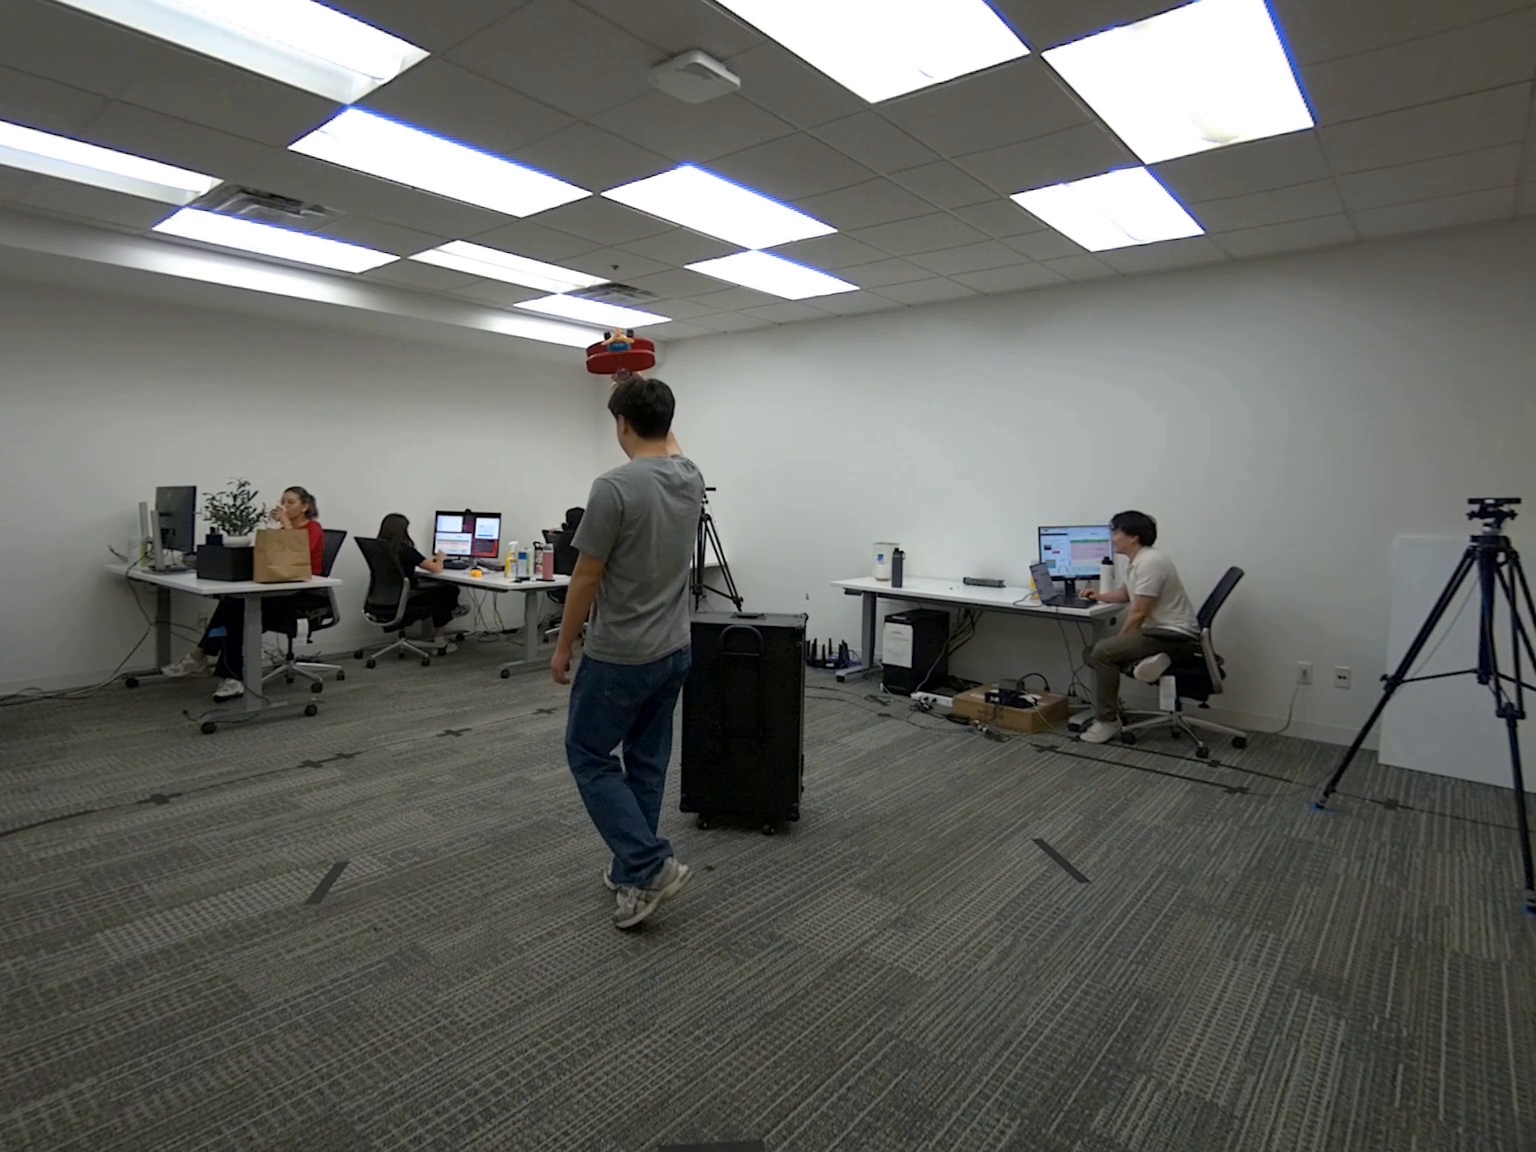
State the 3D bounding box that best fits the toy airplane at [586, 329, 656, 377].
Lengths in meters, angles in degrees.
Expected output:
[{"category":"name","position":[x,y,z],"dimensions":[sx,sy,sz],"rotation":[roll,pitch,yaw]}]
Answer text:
[{"category":"toy airplane","position":[-0.551,-0.806,3.199],"dimensions":[0.252,0.250,0.161],"rotation":[-28,33,12]}]
